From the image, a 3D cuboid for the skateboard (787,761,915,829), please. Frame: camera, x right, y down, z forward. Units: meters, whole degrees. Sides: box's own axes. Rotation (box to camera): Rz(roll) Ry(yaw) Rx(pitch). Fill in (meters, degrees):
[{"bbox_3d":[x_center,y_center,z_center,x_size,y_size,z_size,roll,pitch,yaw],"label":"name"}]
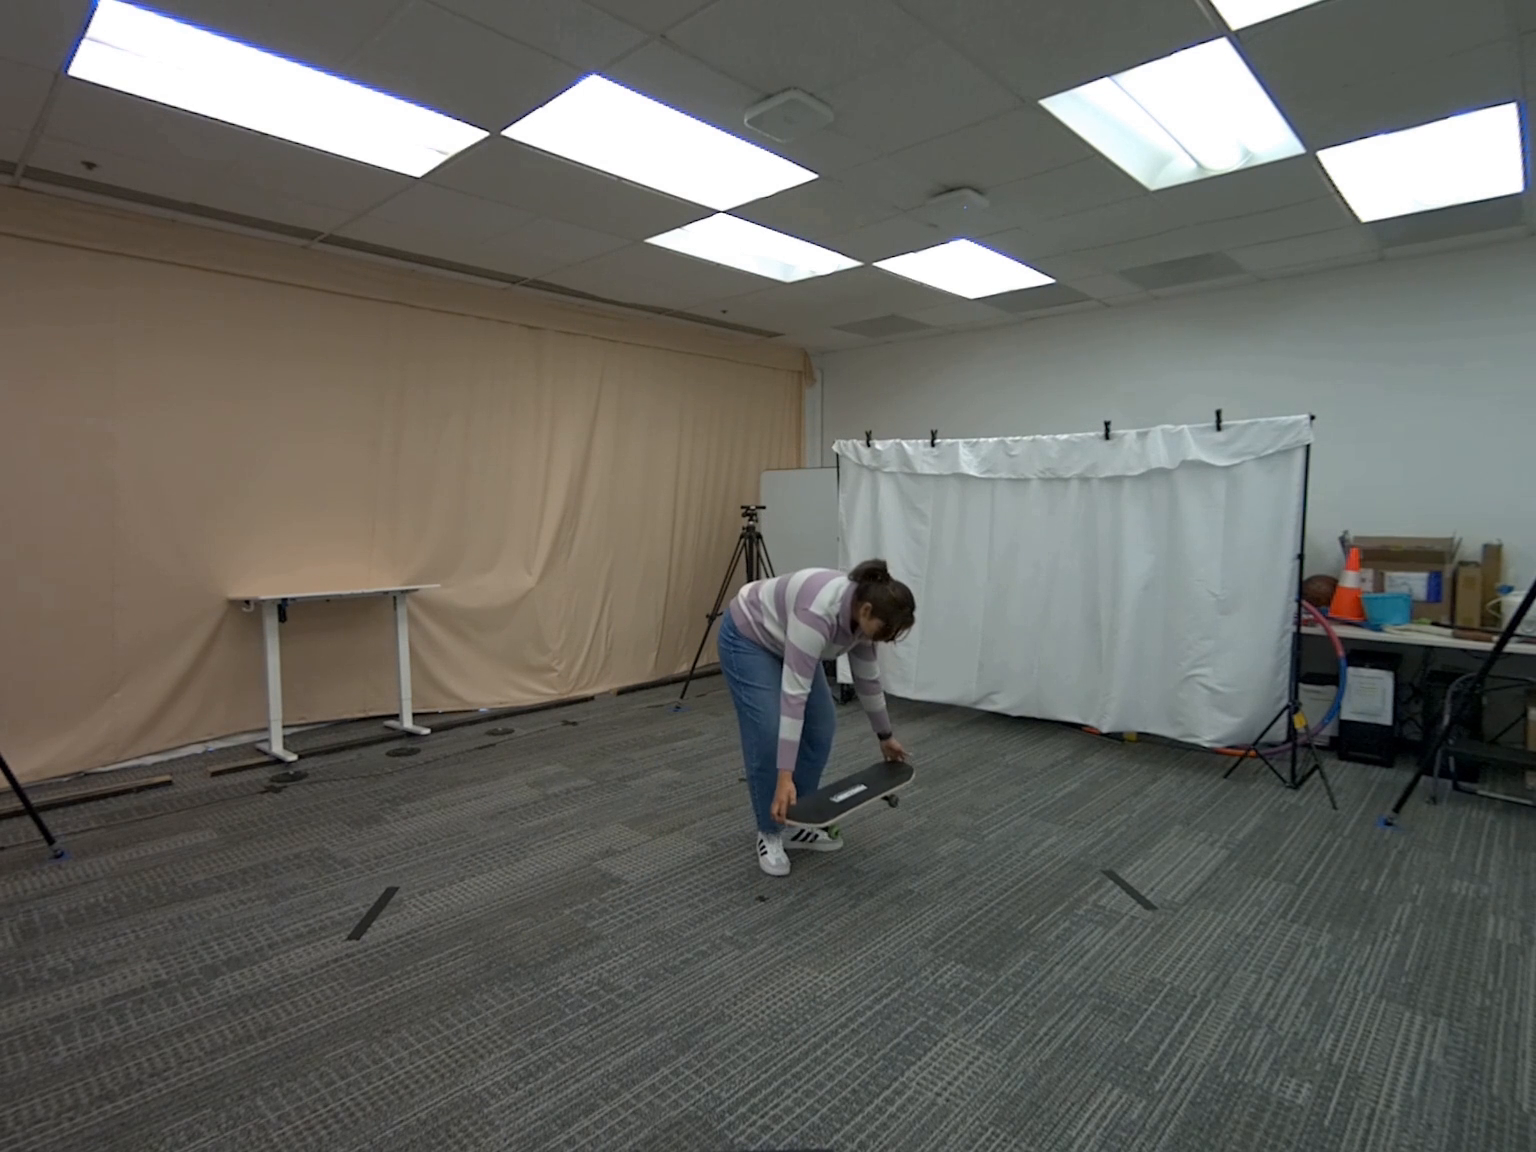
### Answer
[{"bbox_3d":[0.310,0.843,3.166,0.200,0.110,0.762,8,11,41],"label":"skateboard"}]
